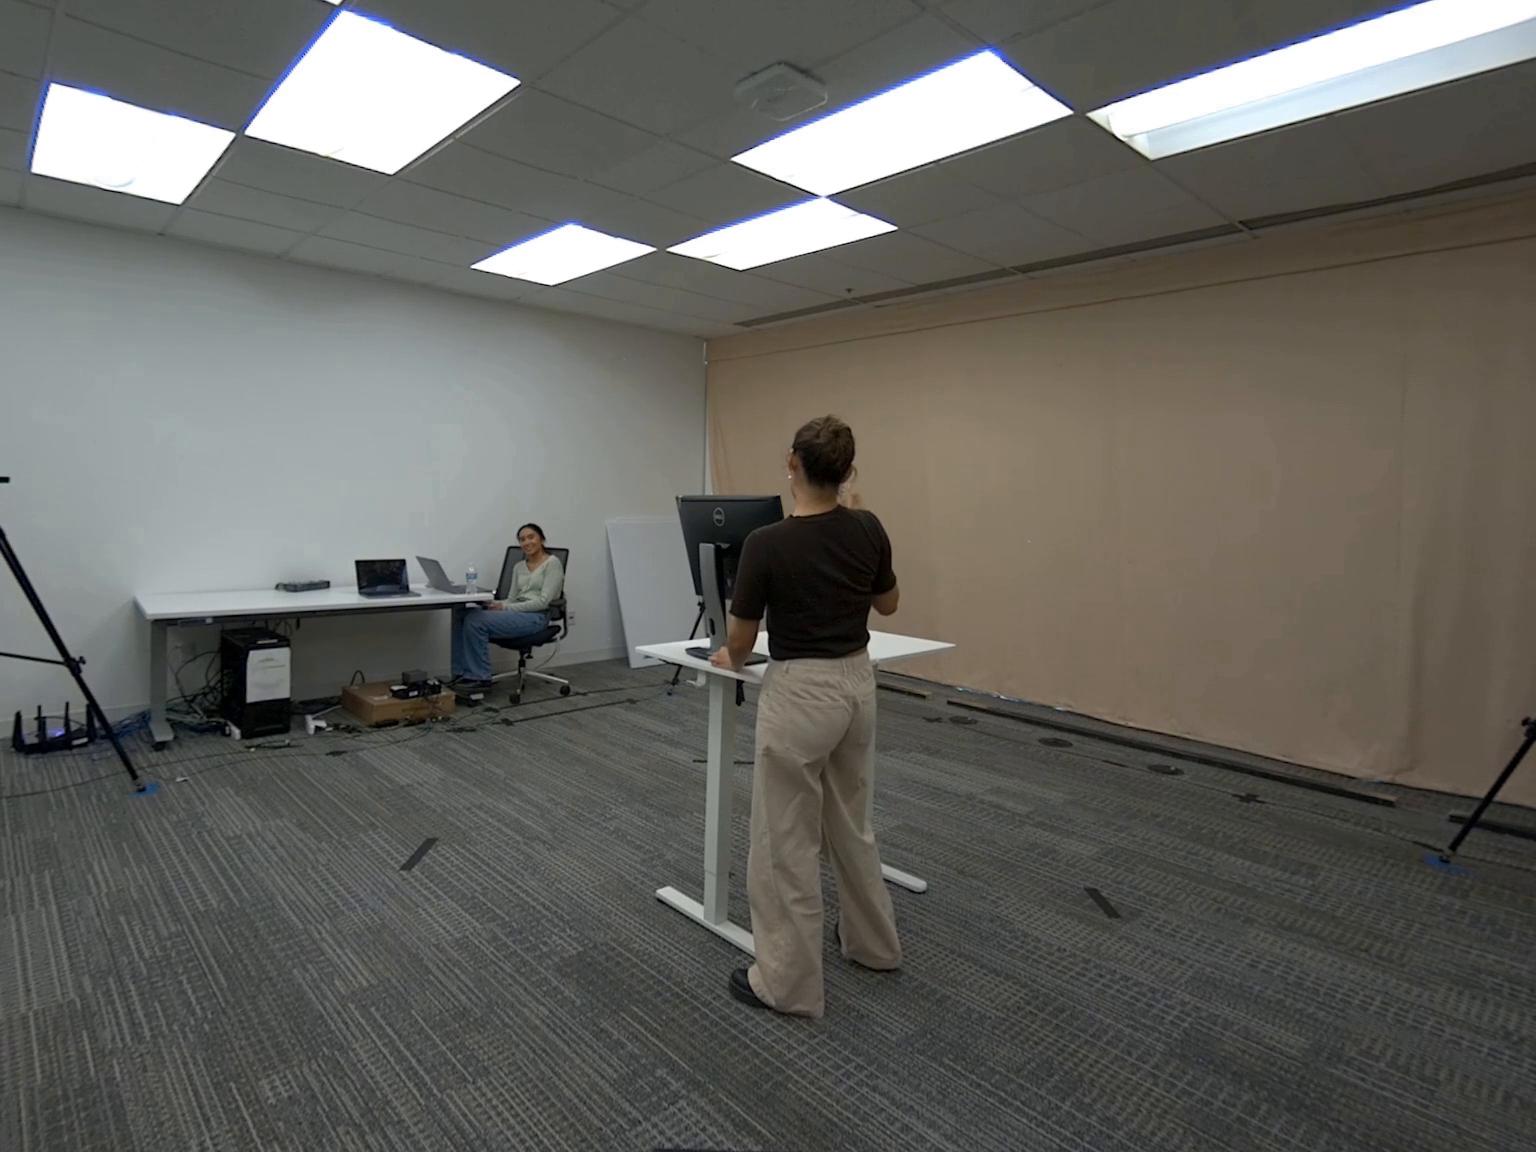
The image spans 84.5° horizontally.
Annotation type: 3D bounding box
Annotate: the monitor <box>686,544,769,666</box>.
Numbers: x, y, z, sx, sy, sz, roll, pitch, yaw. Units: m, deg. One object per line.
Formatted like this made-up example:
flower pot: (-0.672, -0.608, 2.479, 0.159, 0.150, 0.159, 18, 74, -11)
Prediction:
monitor: (-0.129, 0.012, 2.638, 0.183, 0.521, 0.553, -3, 6, -41)
